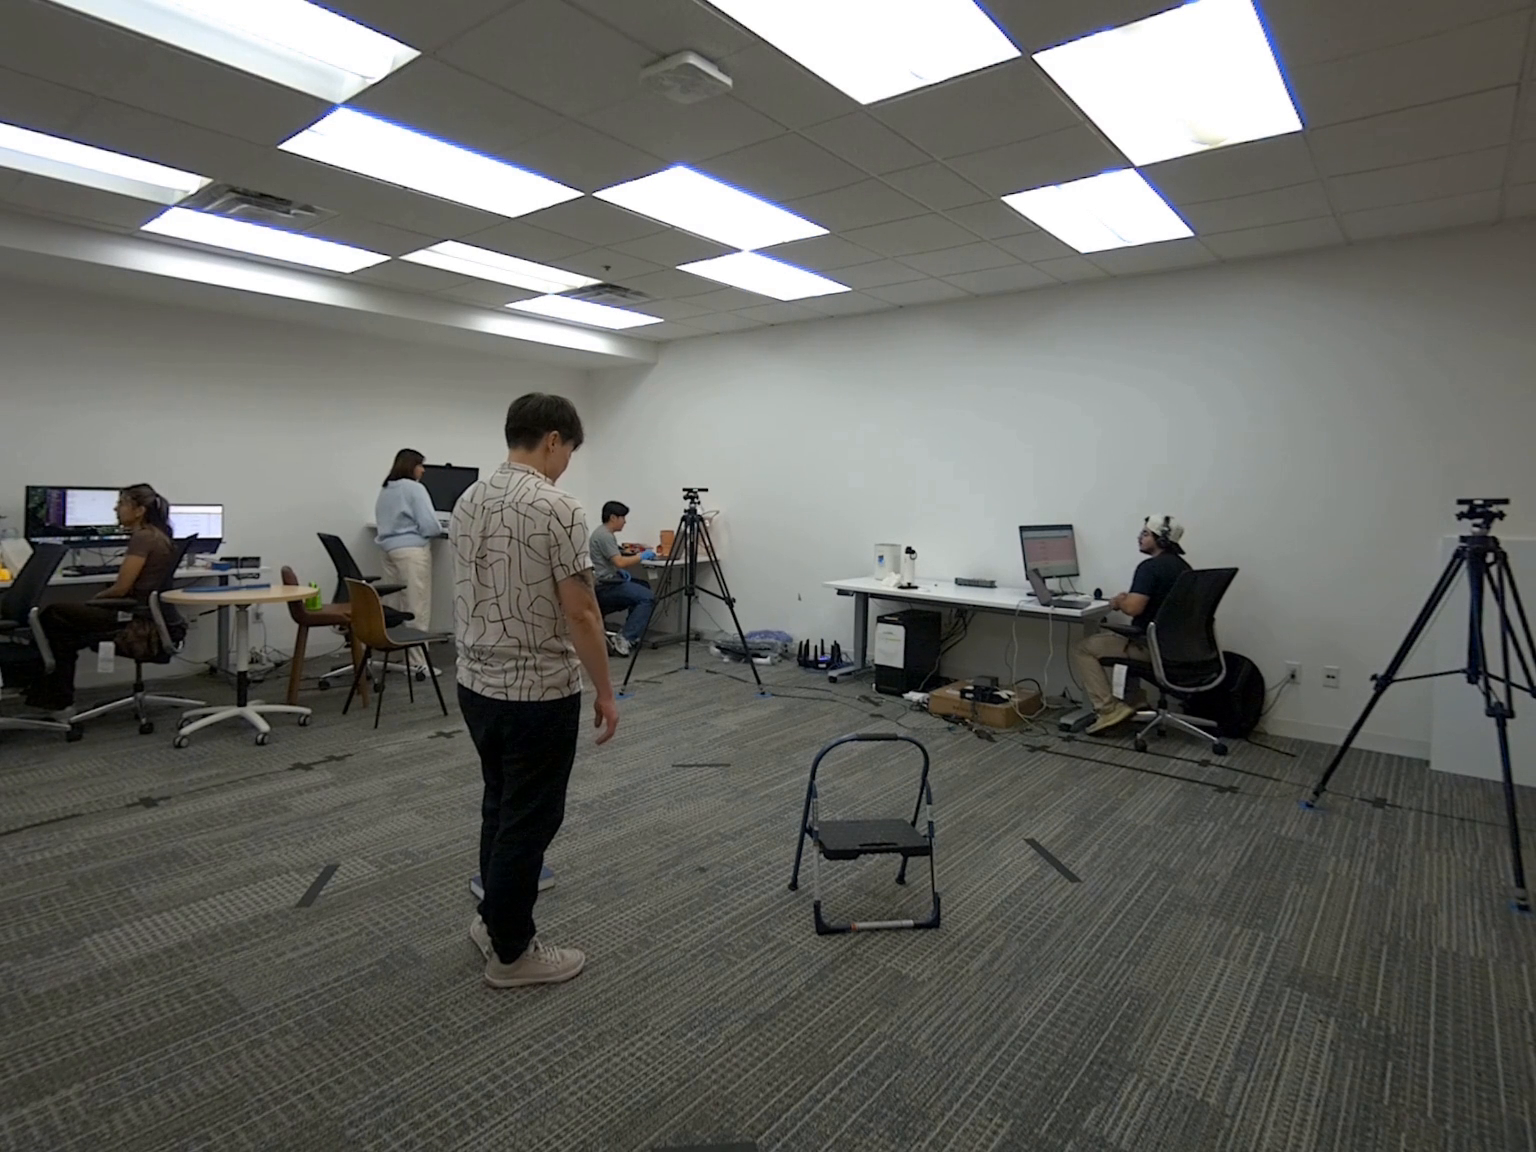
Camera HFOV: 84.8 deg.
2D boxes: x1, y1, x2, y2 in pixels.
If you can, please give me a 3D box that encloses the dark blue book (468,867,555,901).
[{"bbox_3d":[-0.889,1.054,2.927,0.238,0.045,0.169,-4,7,-42],"label":"dark blue book"}]
